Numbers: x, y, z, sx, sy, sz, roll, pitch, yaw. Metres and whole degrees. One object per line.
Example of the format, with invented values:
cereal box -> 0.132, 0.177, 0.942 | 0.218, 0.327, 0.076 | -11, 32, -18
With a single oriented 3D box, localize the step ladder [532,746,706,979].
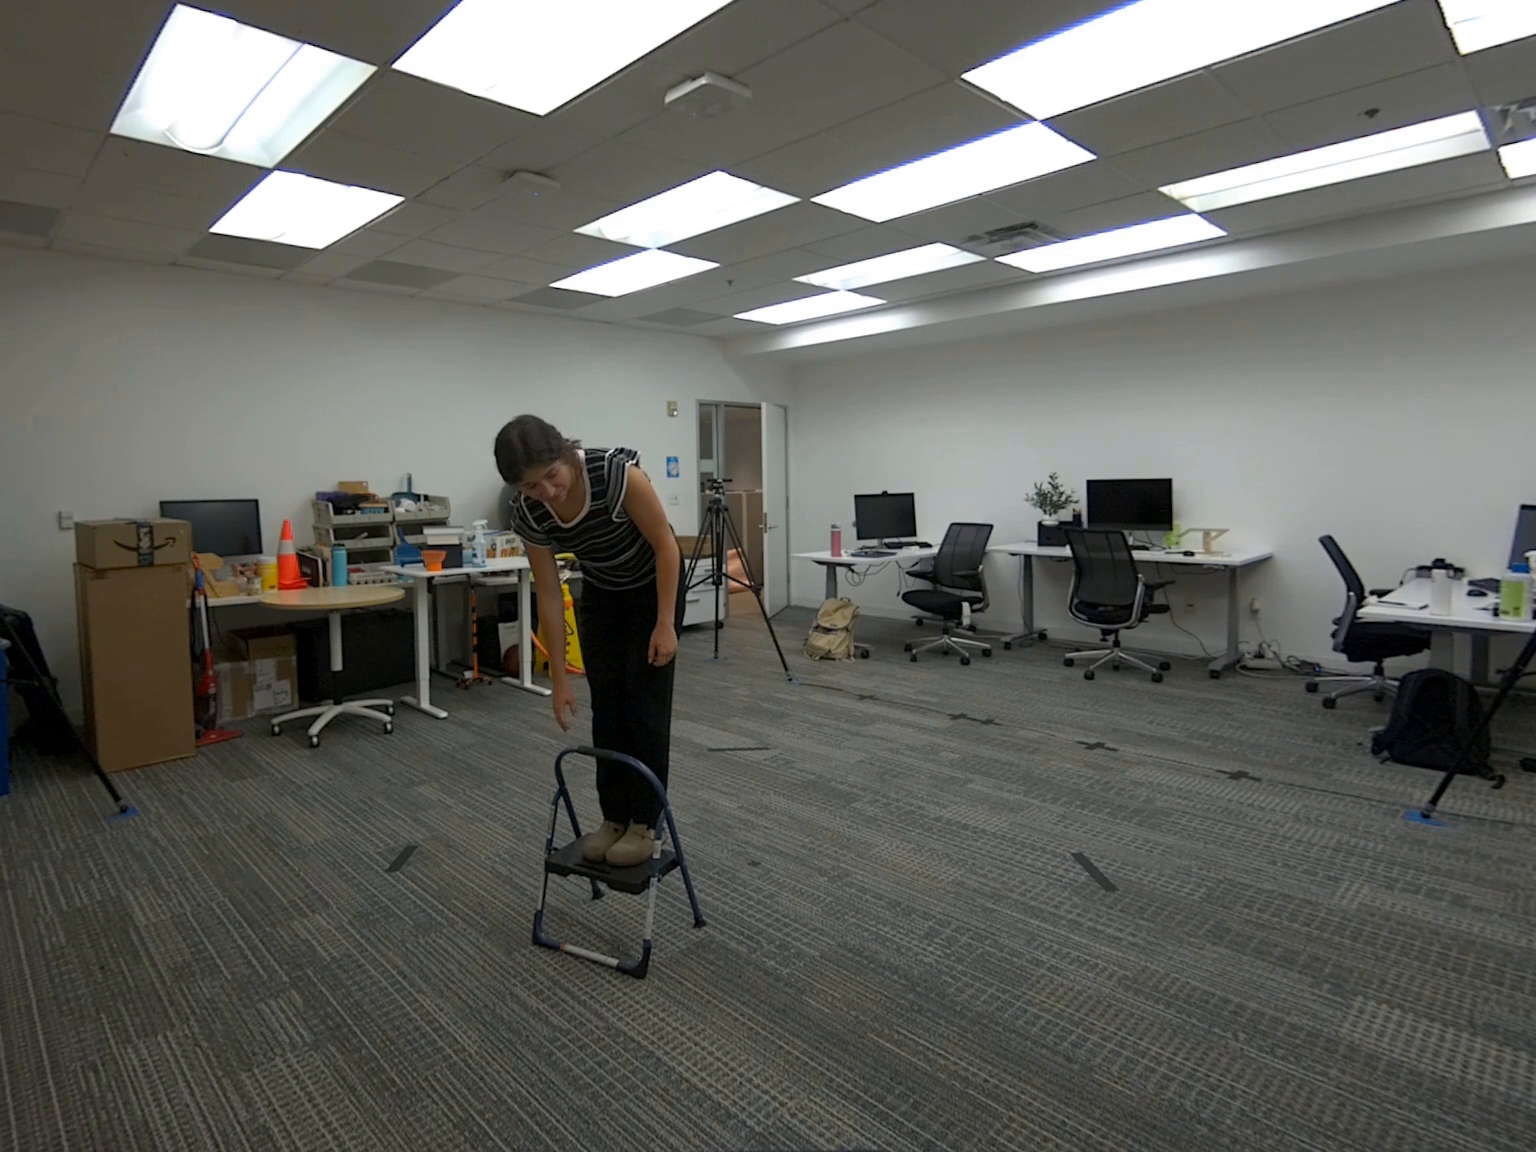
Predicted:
step ladder -> -0.466, 0.809, 2.624 | 0.441, 0.603, 0.342 | 2, 5, 27
